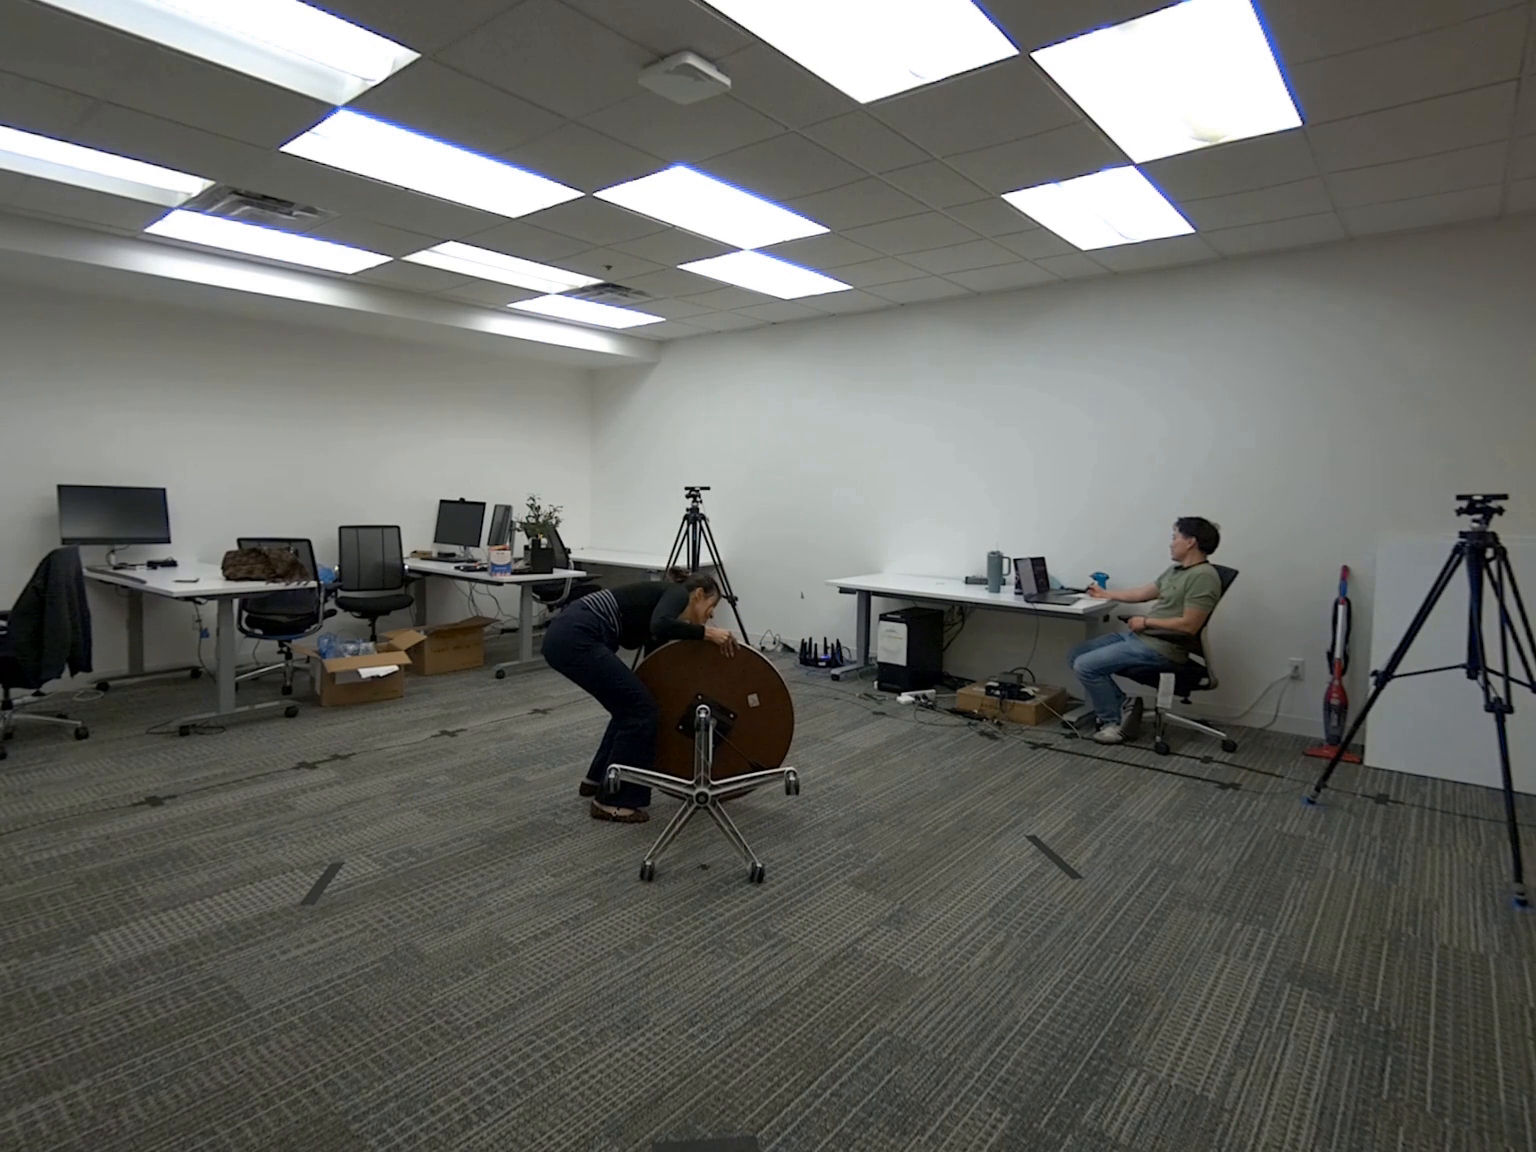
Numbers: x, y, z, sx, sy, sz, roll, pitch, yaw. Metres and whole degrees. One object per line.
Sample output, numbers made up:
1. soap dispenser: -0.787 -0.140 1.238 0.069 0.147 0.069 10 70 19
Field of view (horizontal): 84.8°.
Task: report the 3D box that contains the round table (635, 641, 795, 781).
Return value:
1. round table: -0.263 0.721 3.317 0.764 0.756 0.802 1 12 -1
